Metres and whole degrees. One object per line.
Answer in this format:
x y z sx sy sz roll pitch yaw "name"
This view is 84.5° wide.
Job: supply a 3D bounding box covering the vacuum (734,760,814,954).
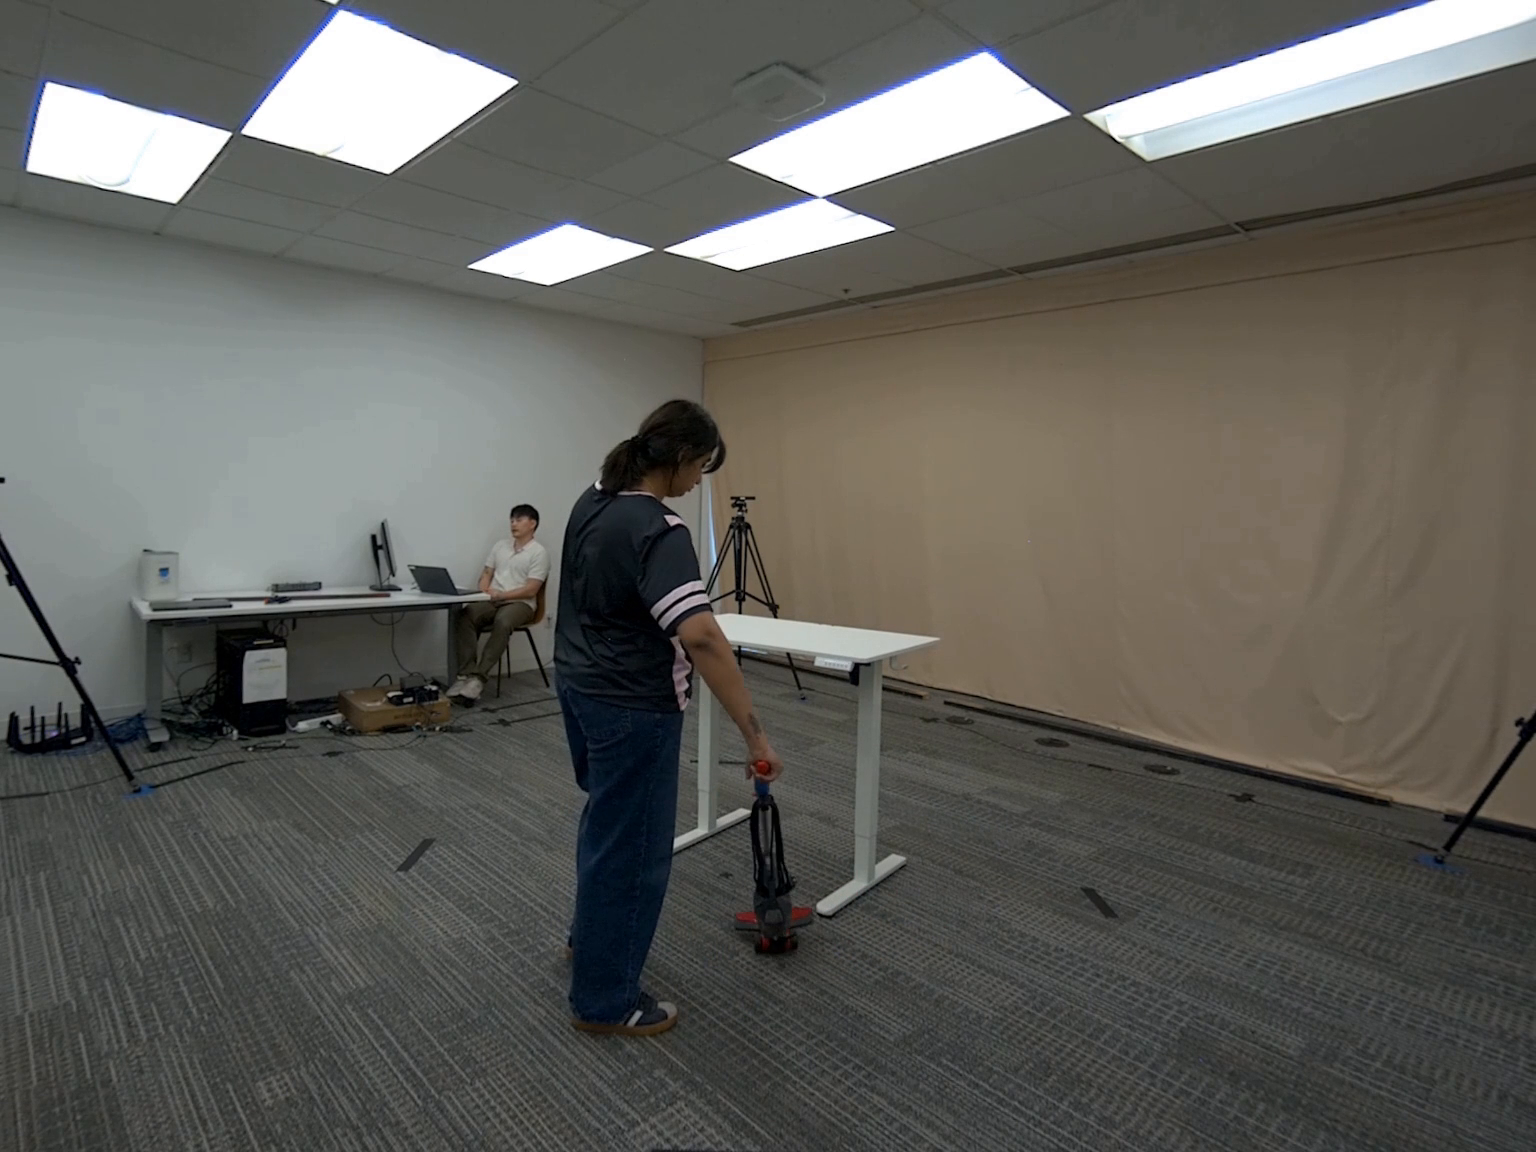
0.002 0.791 2.257 0.253 0.147 1.025 0 -41 1 "vacuum"
